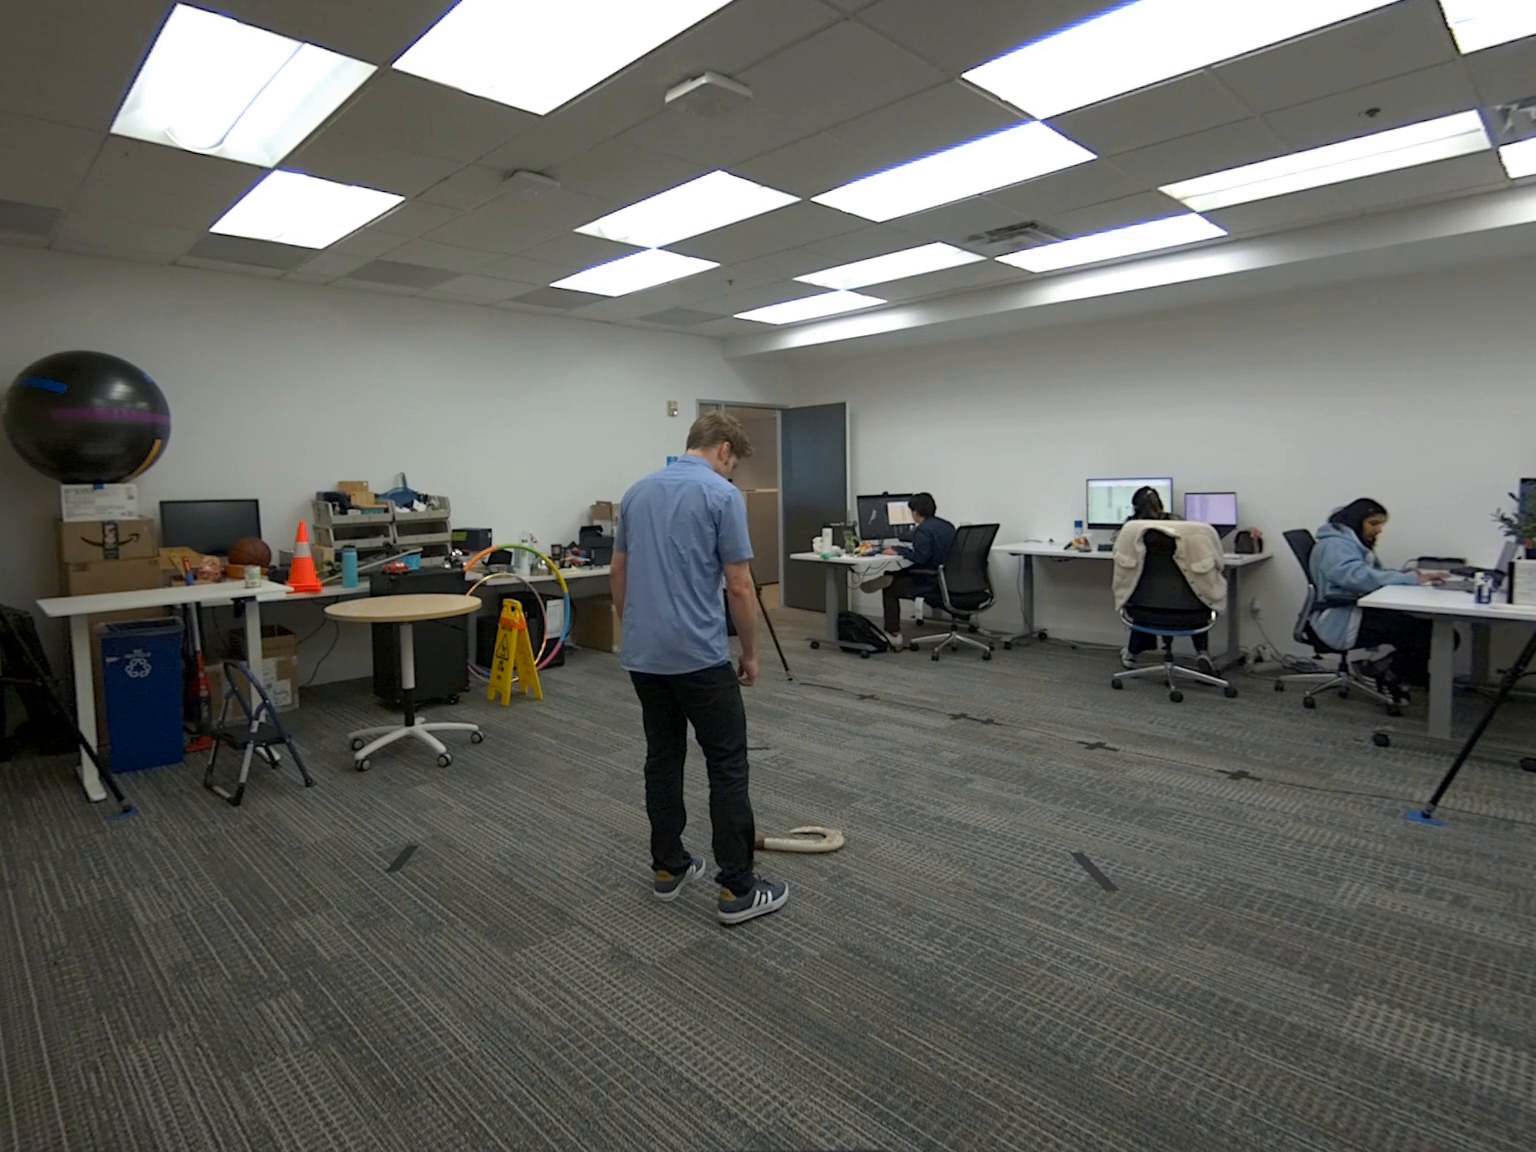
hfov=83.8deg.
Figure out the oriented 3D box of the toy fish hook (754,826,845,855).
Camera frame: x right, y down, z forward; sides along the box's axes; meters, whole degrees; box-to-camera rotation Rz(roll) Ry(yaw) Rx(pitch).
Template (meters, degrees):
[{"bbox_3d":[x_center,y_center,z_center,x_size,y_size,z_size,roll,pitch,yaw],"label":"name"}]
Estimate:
[{"bbox_3d":[0.036,1.007,3.272,0.506,0.048,0.224,0,-2,-2],"label":"toy fish hook"}]
